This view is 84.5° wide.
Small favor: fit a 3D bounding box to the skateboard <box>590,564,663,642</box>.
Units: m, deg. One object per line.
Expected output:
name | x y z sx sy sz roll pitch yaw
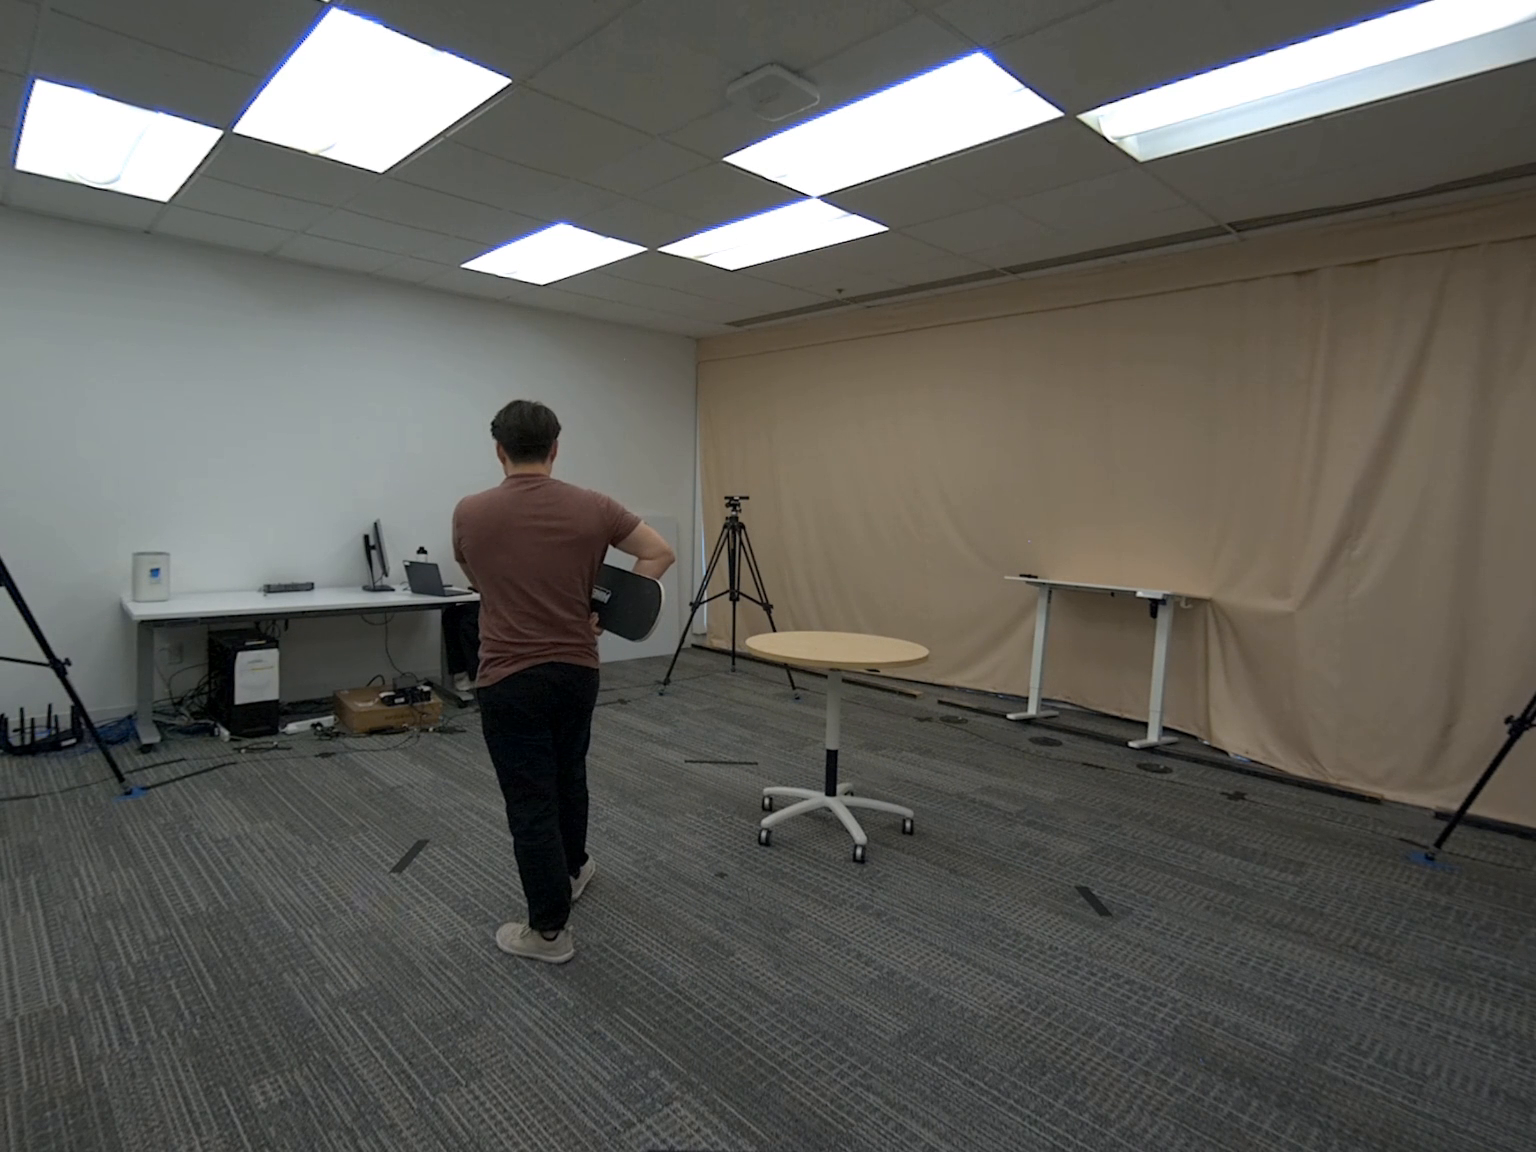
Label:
skateboard | -0.539 0.061 2.689 0.808 0.194 0.107 14 -8 46
